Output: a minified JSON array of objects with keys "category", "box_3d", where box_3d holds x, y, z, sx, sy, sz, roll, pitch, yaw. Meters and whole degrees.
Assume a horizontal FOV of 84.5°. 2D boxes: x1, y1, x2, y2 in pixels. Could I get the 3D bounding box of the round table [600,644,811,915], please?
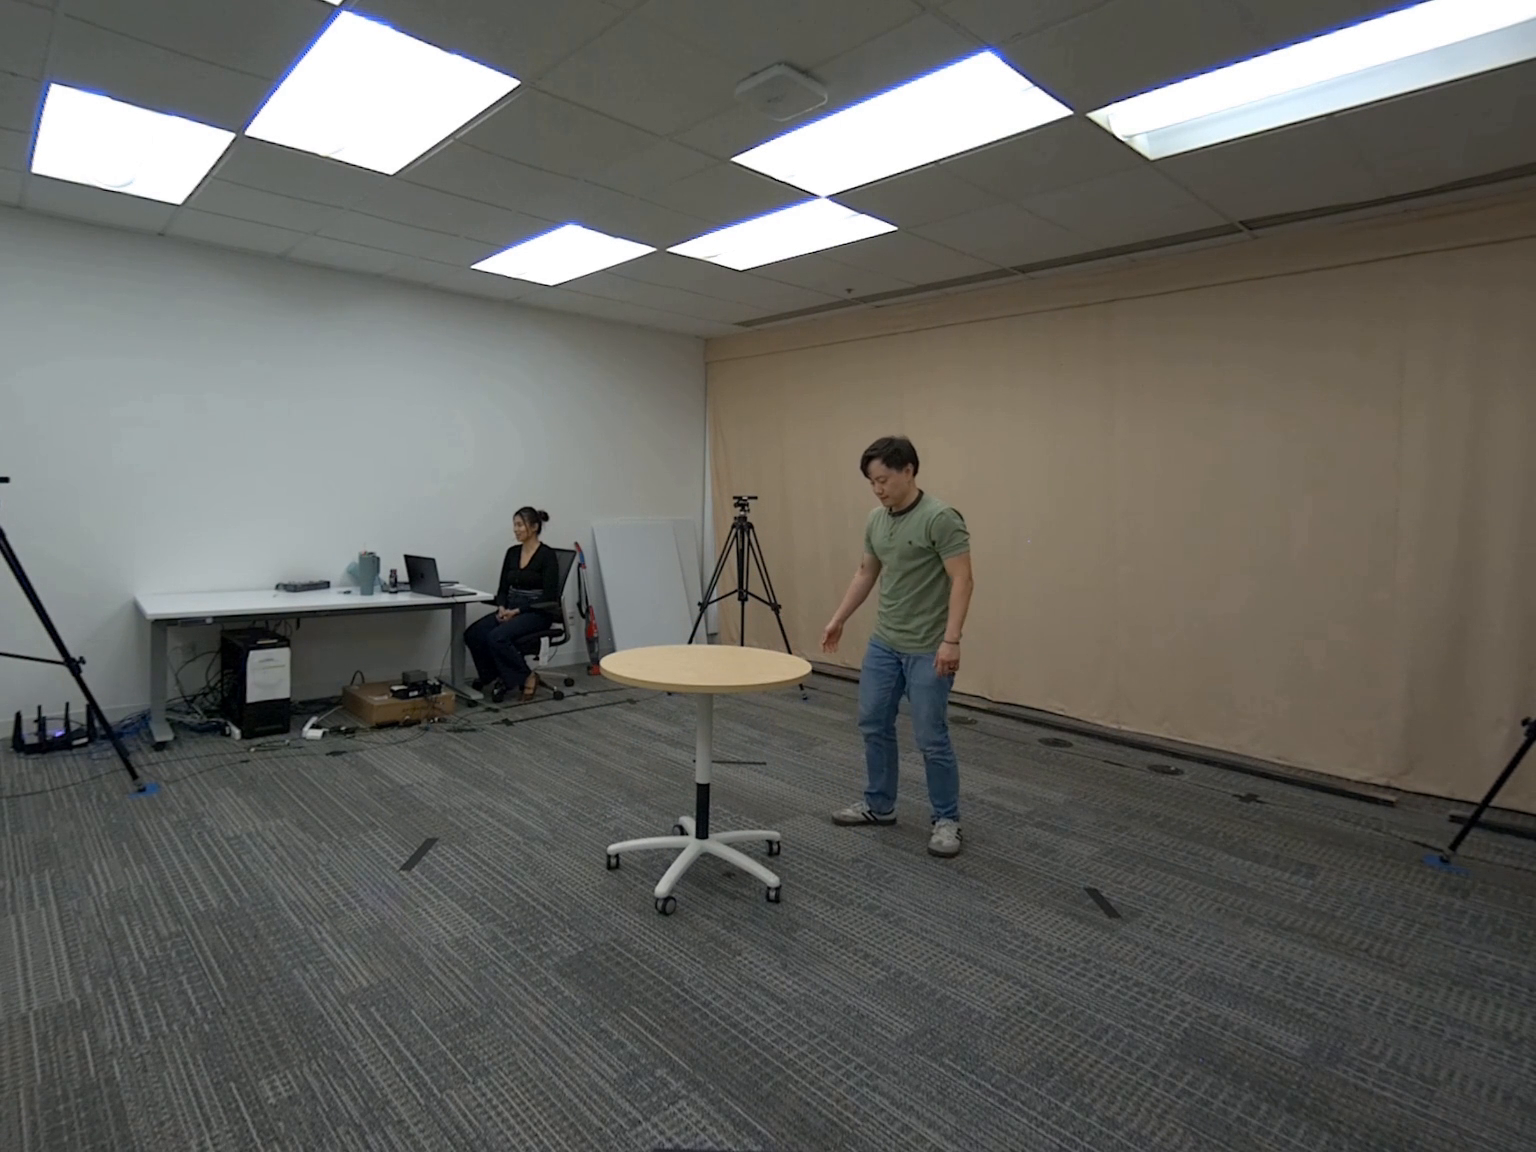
[{"category":"round table","box_3d":[-0.241,0.712,3.073,0.763,0.792,0.766,1,4,-1]}]
